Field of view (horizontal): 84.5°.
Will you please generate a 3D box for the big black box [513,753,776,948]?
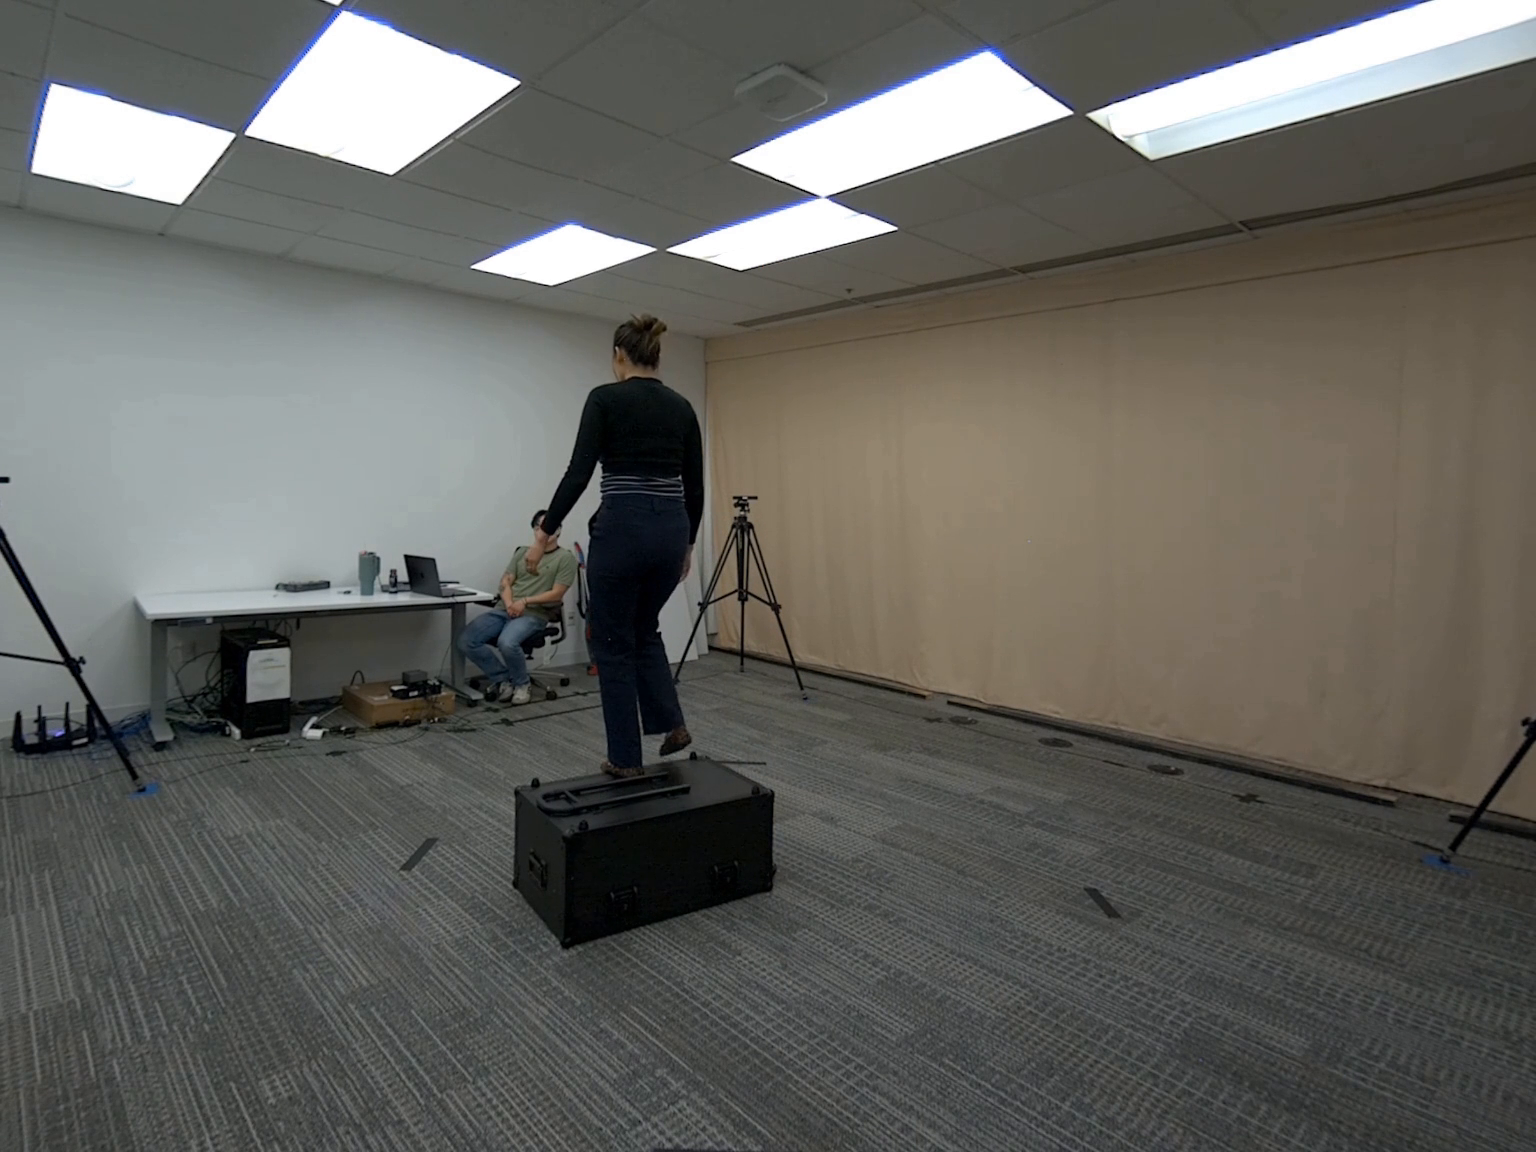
[{"bbox_3d":[-0.465,0.936,2.949,0.843,0.395,0.534,-2,5,-34],"label":"big black box"}]
